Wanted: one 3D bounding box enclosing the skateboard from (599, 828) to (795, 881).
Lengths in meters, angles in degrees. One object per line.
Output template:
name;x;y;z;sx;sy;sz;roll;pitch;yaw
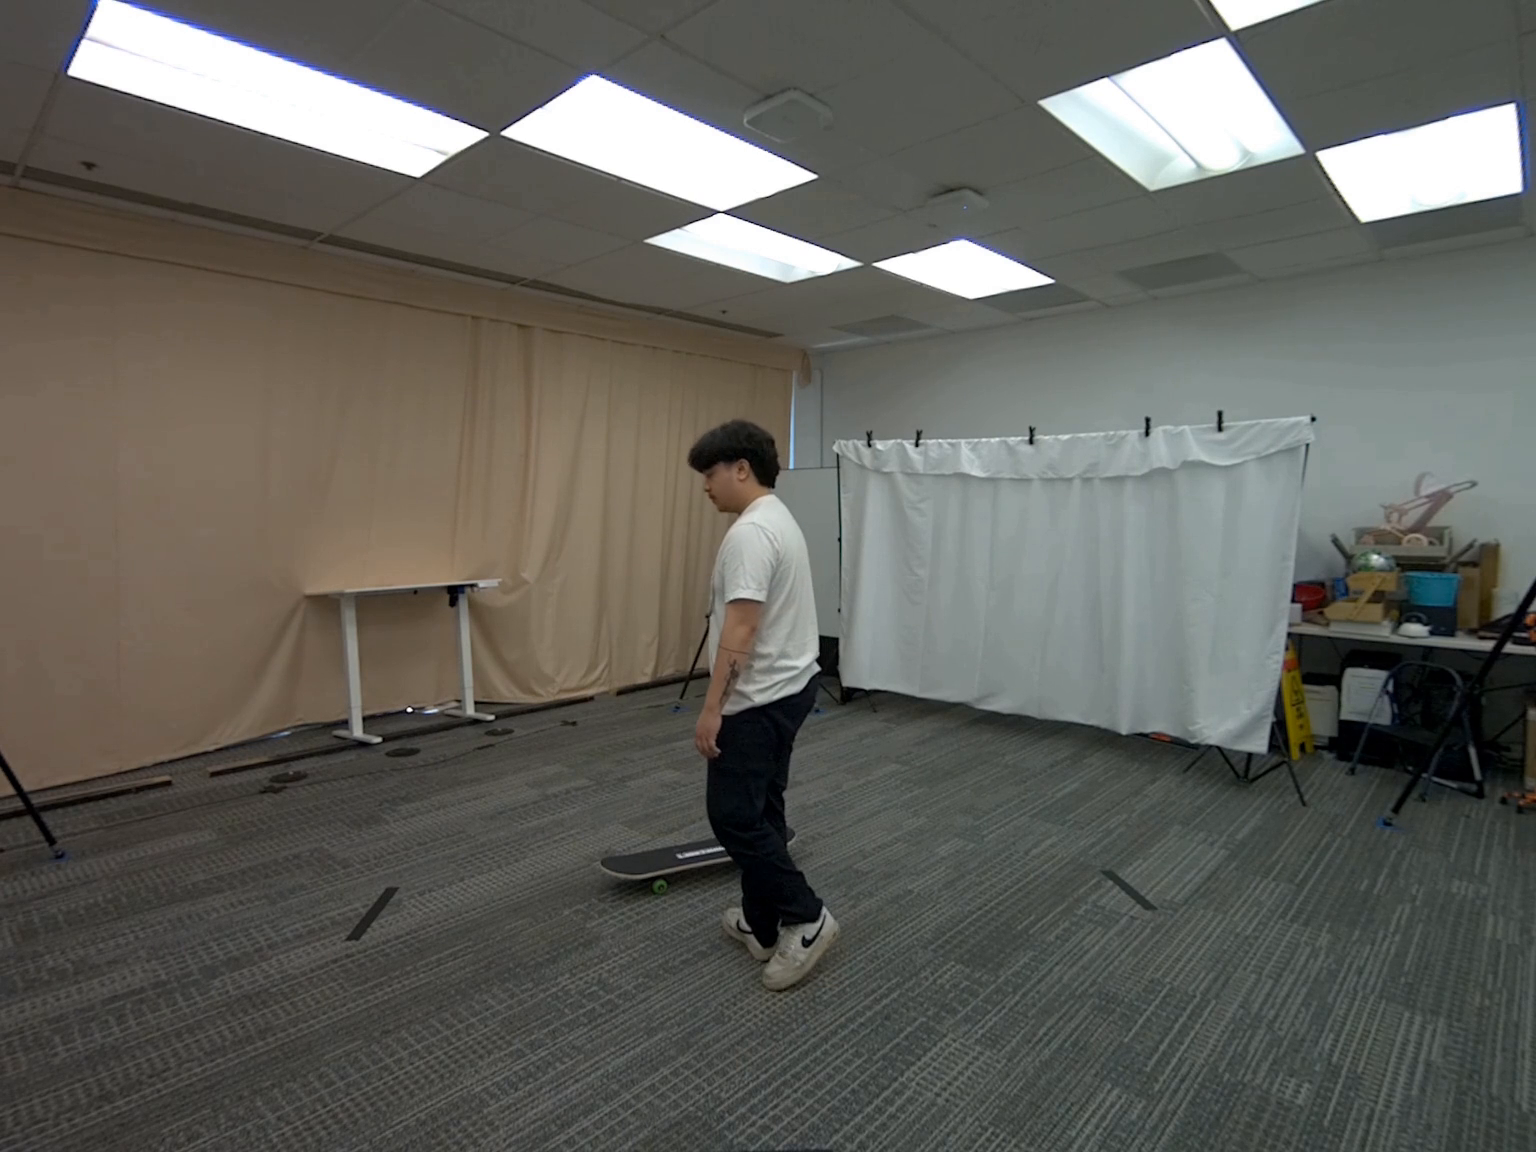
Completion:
skateboard;-0.251;1.074;3.176;0.768;0.110;0.198;-3;5;-24
